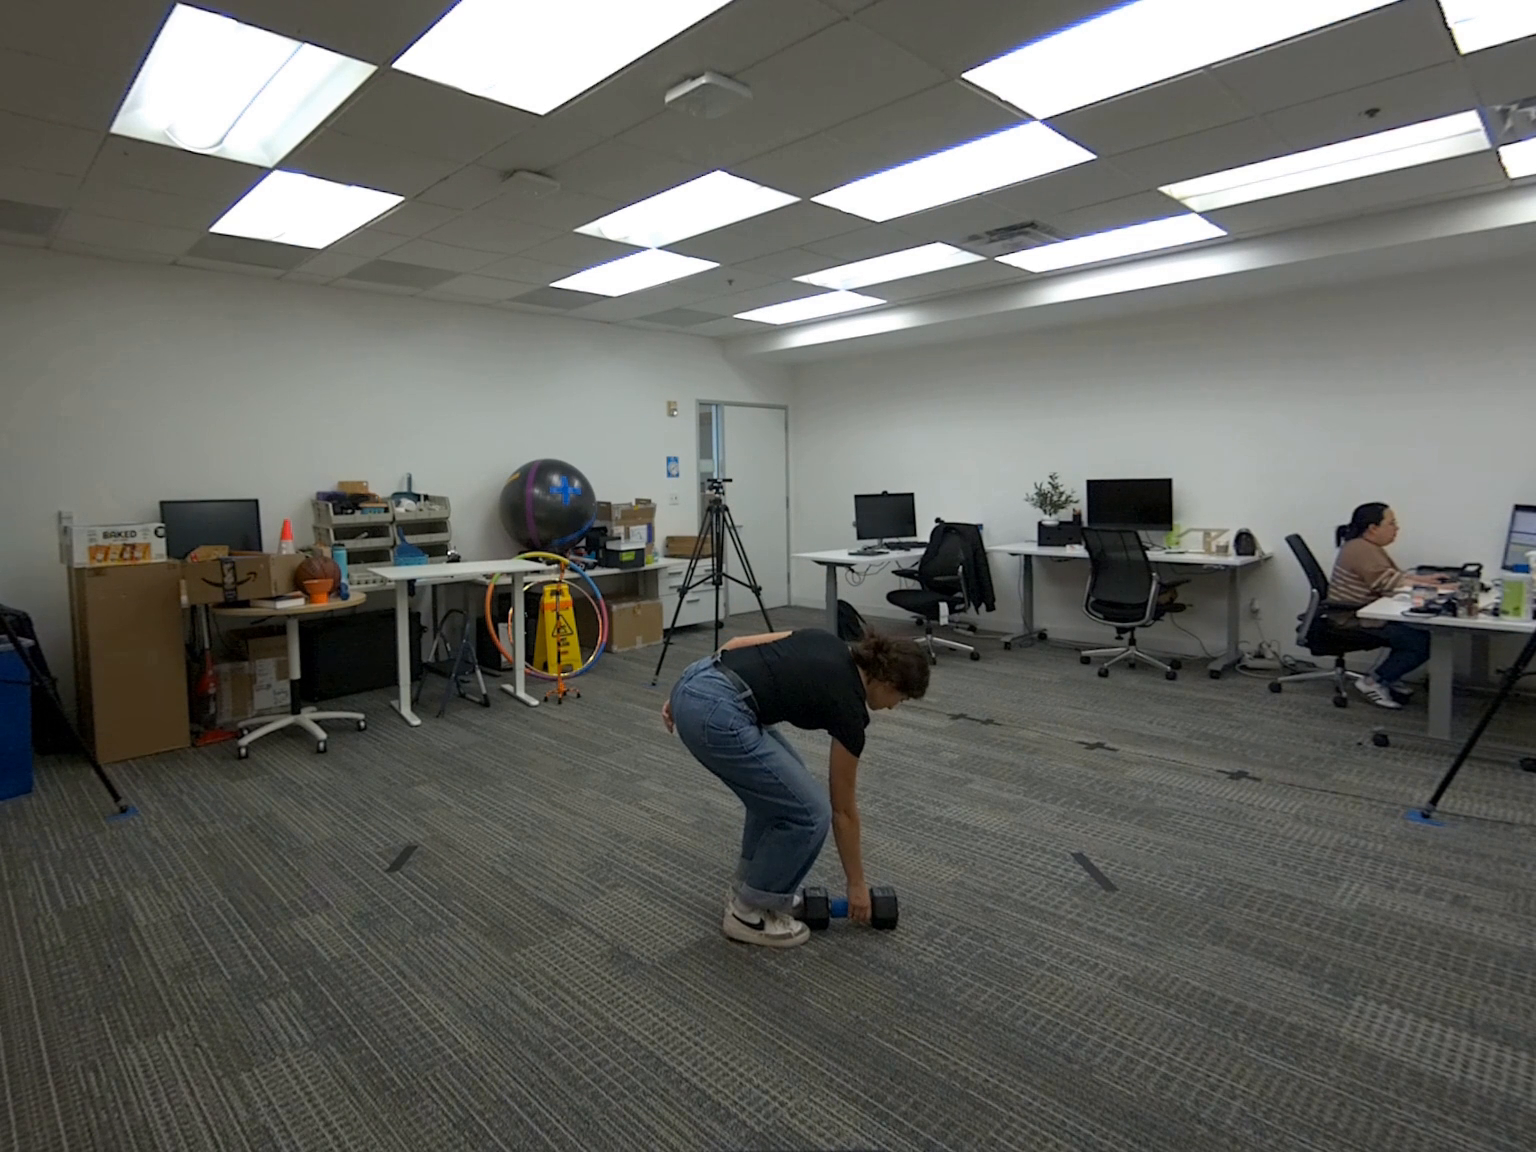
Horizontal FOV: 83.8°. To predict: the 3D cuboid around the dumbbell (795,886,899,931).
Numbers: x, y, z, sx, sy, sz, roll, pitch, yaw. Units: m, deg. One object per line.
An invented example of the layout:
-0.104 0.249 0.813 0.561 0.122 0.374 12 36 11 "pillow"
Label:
0.258 1.033 2.662 0.294 0.125 0.106 -2 -24 1 "dumbbell"
